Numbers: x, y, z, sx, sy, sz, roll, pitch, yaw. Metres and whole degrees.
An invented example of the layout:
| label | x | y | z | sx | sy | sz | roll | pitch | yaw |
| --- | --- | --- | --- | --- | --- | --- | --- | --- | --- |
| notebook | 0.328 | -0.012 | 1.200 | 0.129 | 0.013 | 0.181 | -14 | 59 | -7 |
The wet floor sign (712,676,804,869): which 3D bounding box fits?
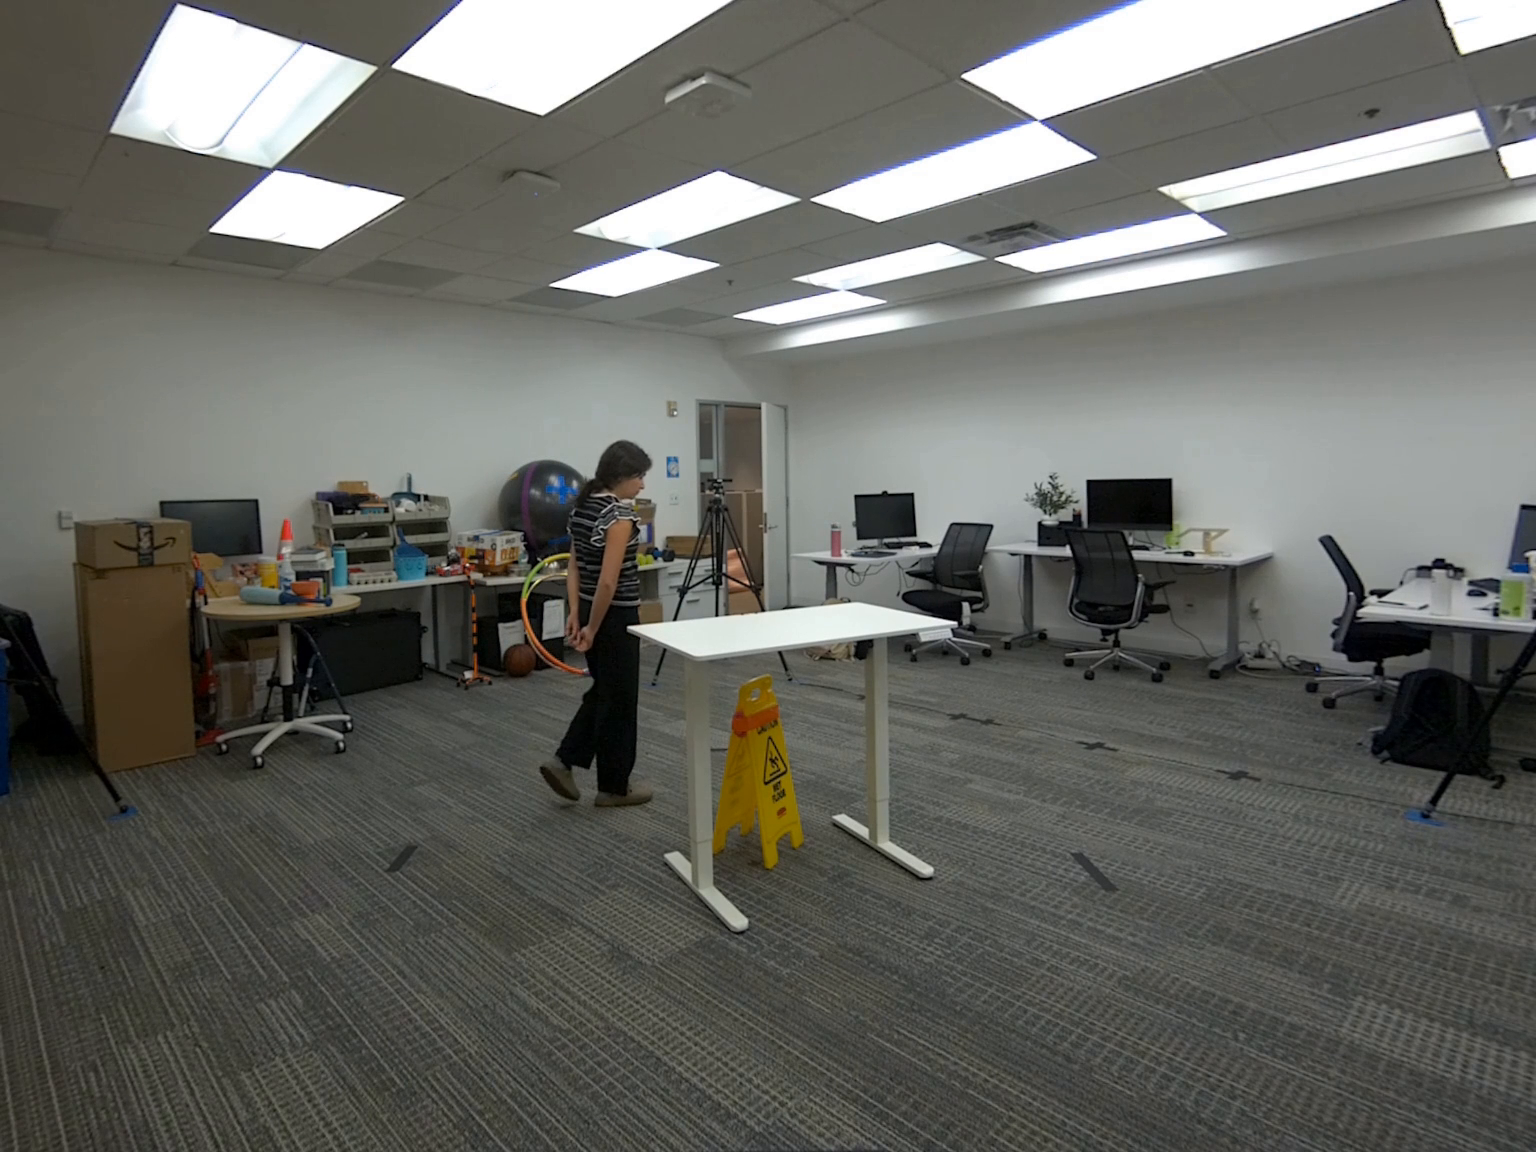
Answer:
| label | x | y | z | sx | sy | sz | roll | pitch | yaw |
| --- | --- | --- | --- | --- | --- | --- | --- | --- | --- |
| wet floor sign | -0.038 | 0.708 | 3.212 | 0.298 | 0.644 | 0.275 | 2 | 5 | 32 |
